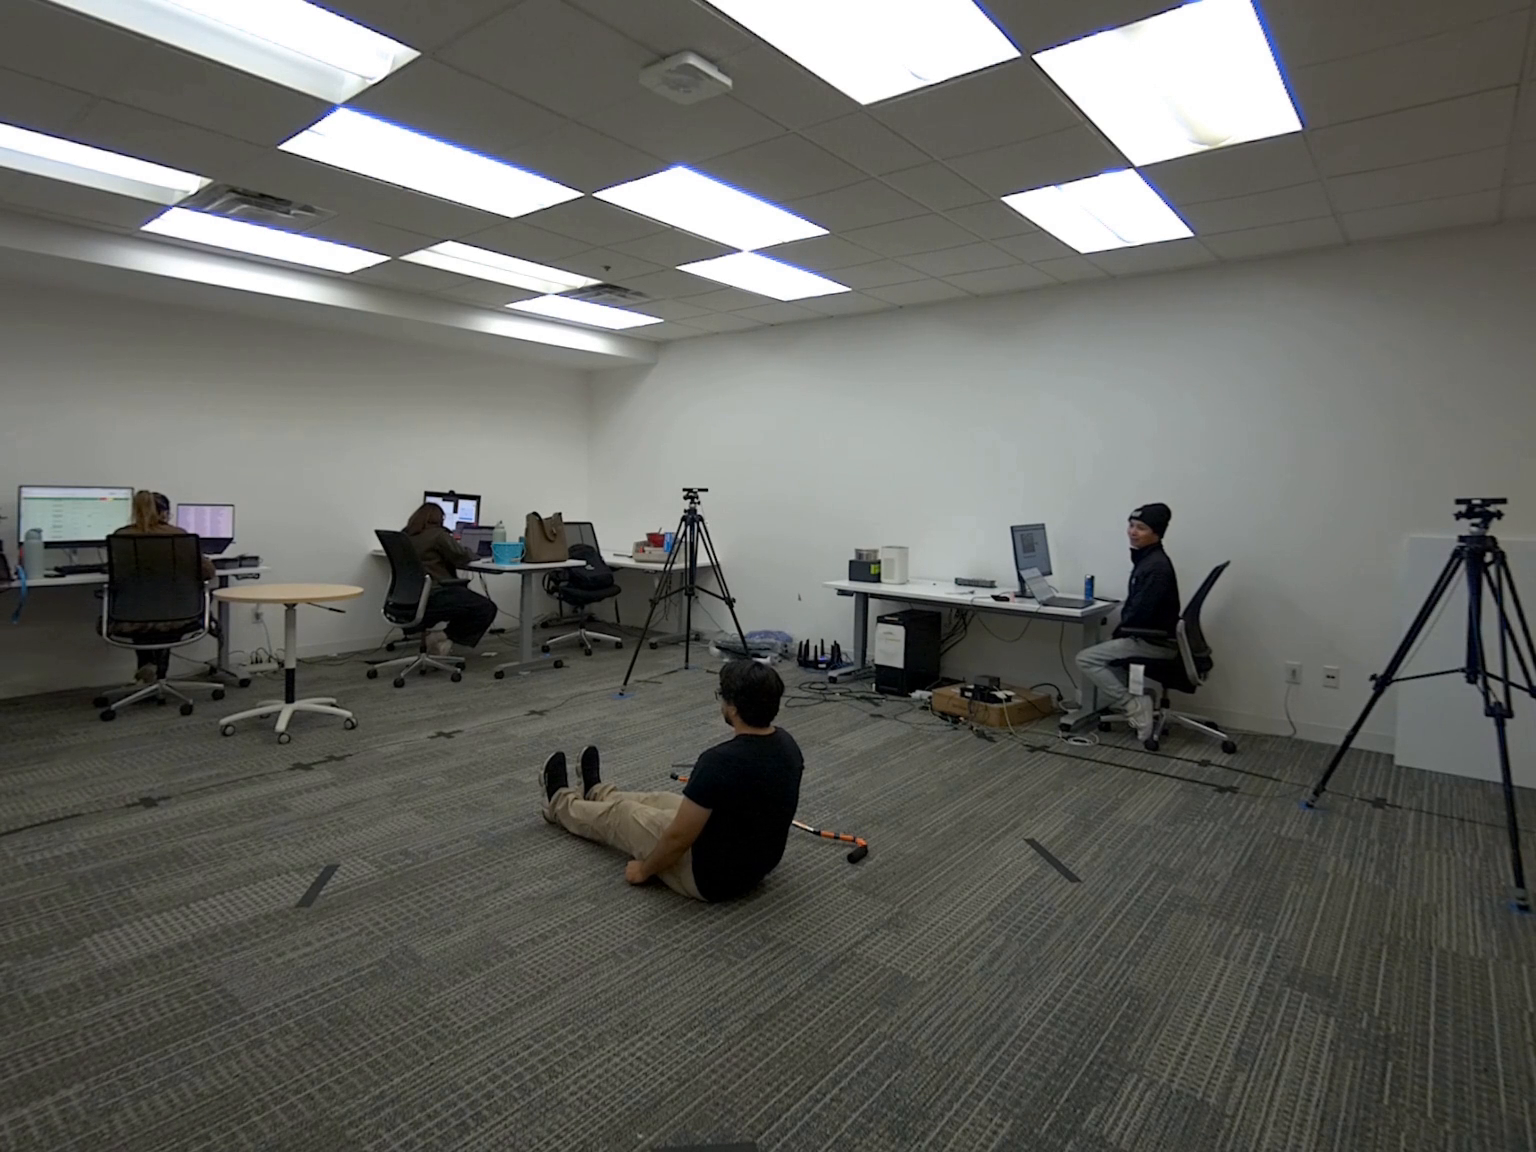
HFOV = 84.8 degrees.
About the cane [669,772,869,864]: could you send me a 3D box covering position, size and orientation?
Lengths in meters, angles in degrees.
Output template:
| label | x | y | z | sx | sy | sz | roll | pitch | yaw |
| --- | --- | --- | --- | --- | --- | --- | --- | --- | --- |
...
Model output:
| label | x | y | z | sx | sy | sz | roll | pitch | yaw |
| --- | --- | --- | --- | --- | --- | --- | --- | --- | --- |
| cane | -0.015 | 0.980 | 3.520 | 0.940 | 0.151 | 0.200 | 11 | 8 | 35 |
